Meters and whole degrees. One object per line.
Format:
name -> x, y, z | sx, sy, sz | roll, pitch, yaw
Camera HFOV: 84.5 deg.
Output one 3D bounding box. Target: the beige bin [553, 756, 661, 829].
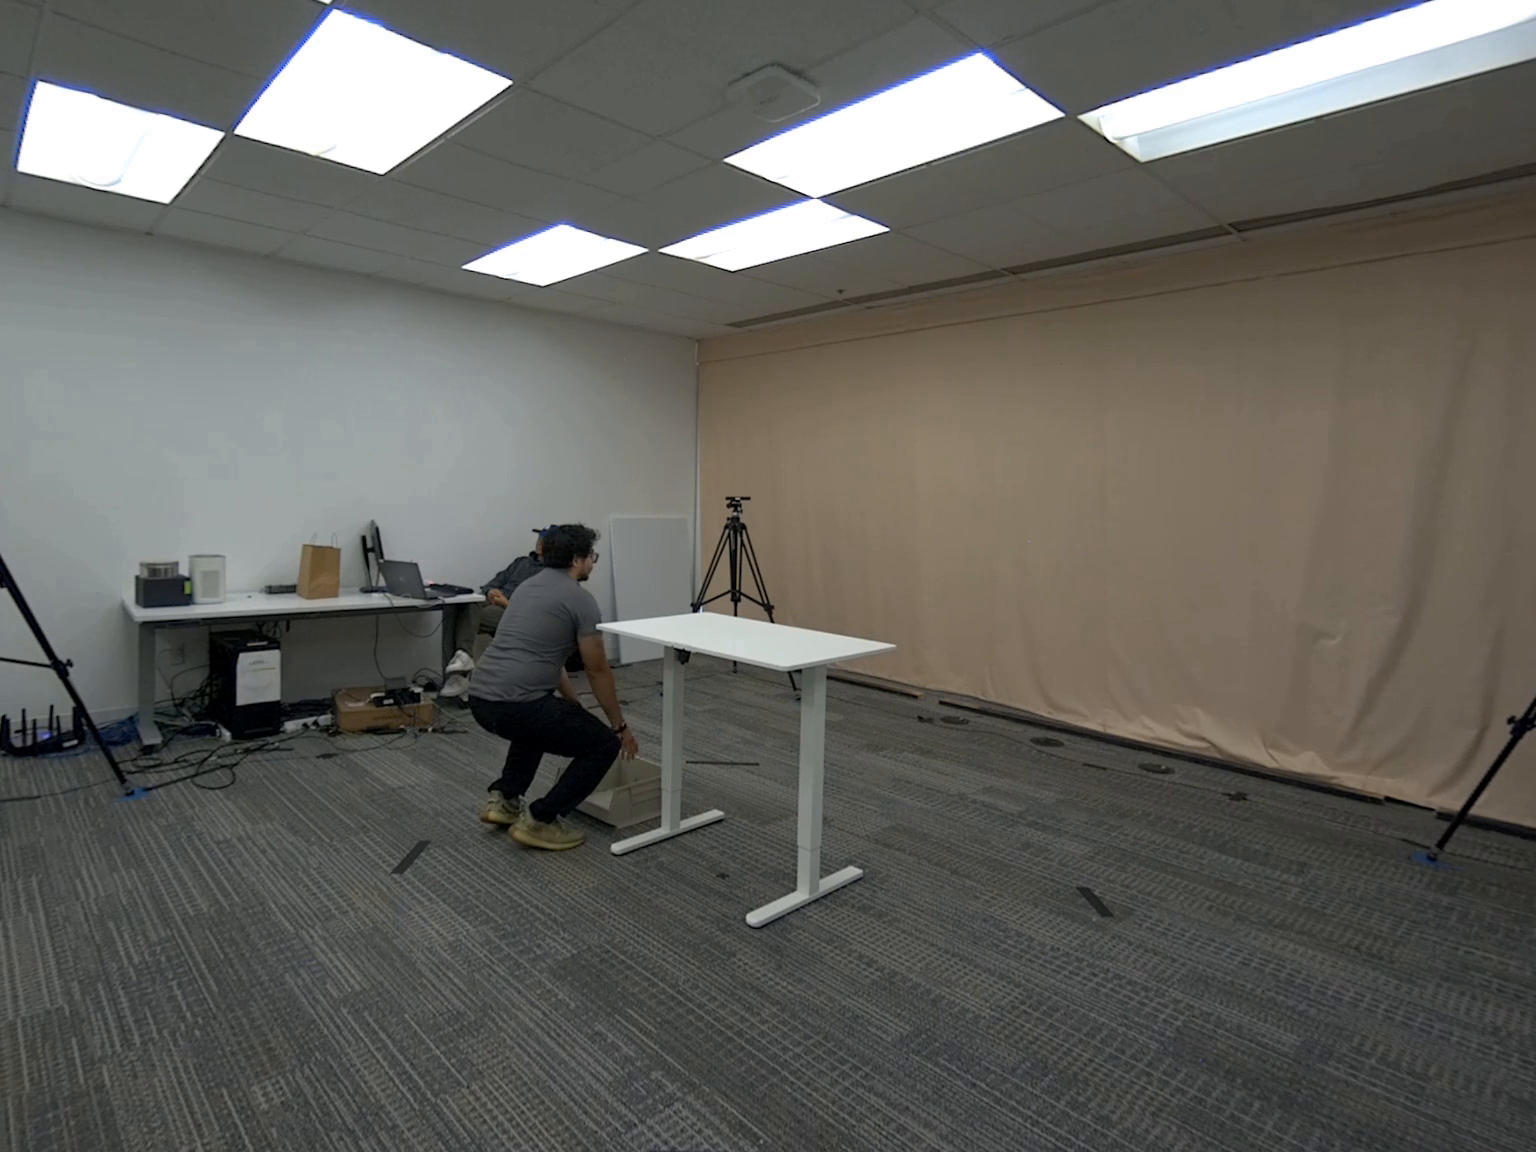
beige bin -> -0.692, 0.950, 3.758 | 0.433, 0.188, 0.369 | 6, 6, 43
